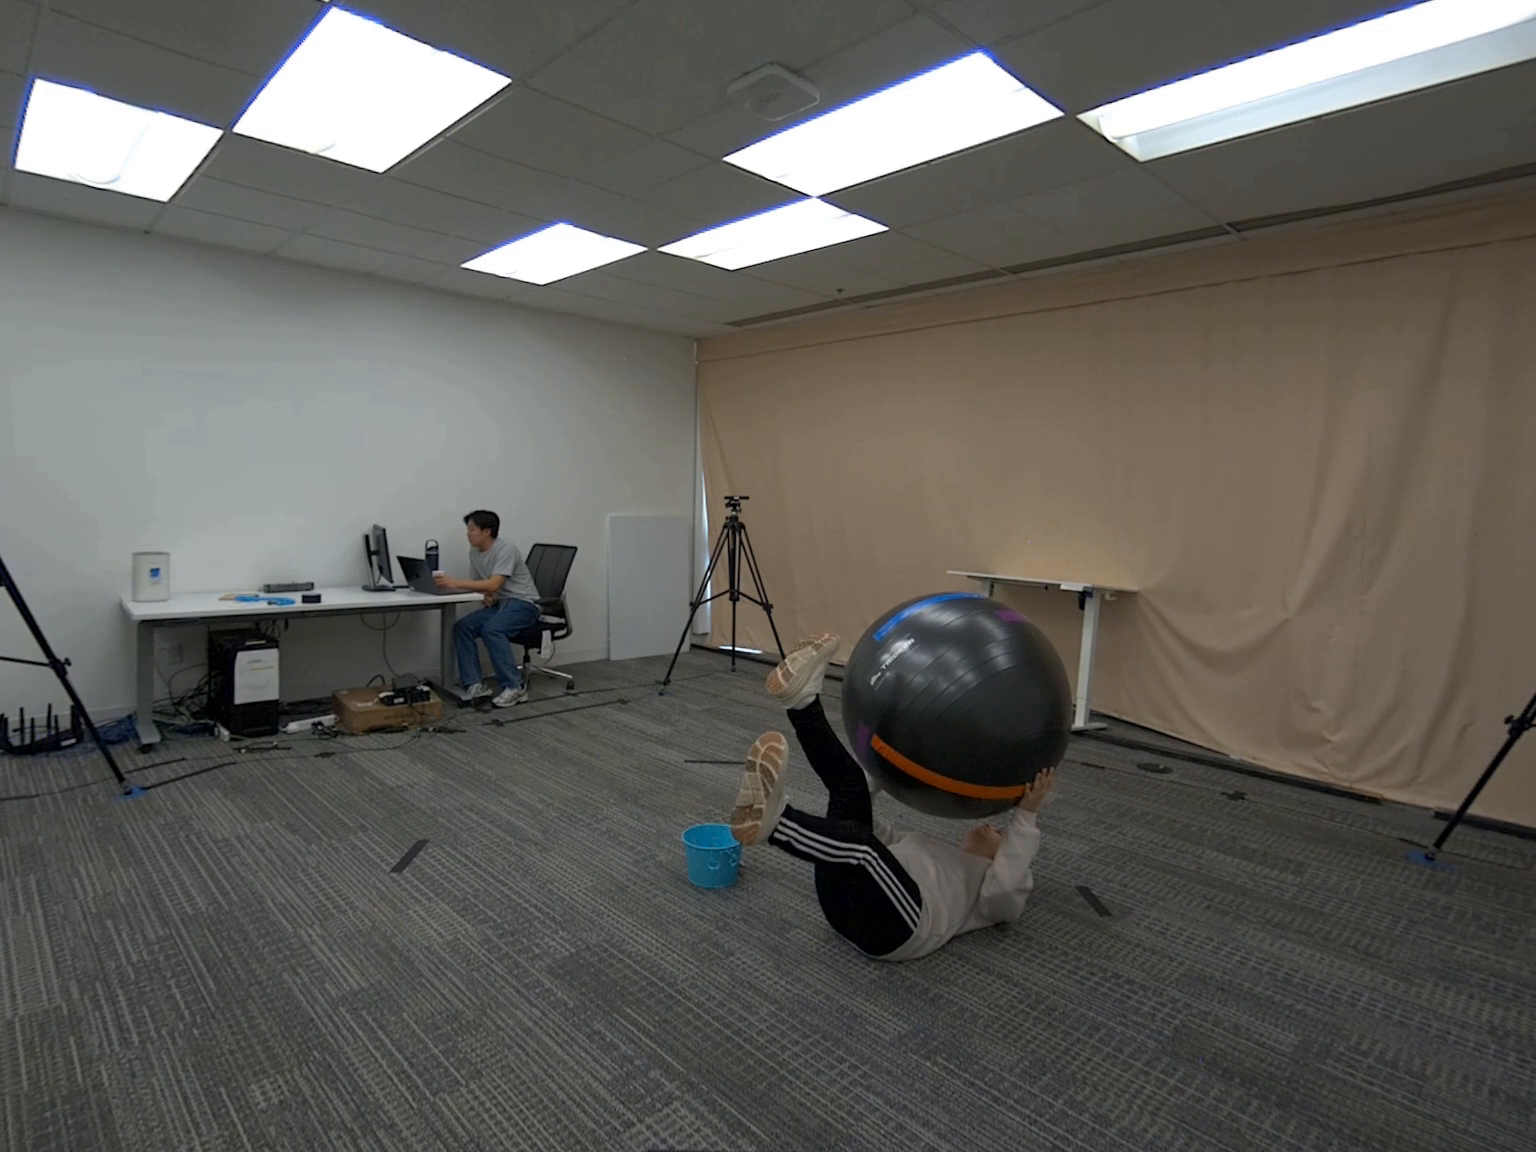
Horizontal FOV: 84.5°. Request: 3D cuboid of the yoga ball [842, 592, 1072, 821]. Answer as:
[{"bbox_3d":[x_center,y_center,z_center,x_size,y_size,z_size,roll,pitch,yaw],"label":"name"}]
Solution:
[{"bbox_3d":[0.635,0.436,2.867,0.757,0.756,0.761,1,4,-1],"label":"yoga ball"}]
